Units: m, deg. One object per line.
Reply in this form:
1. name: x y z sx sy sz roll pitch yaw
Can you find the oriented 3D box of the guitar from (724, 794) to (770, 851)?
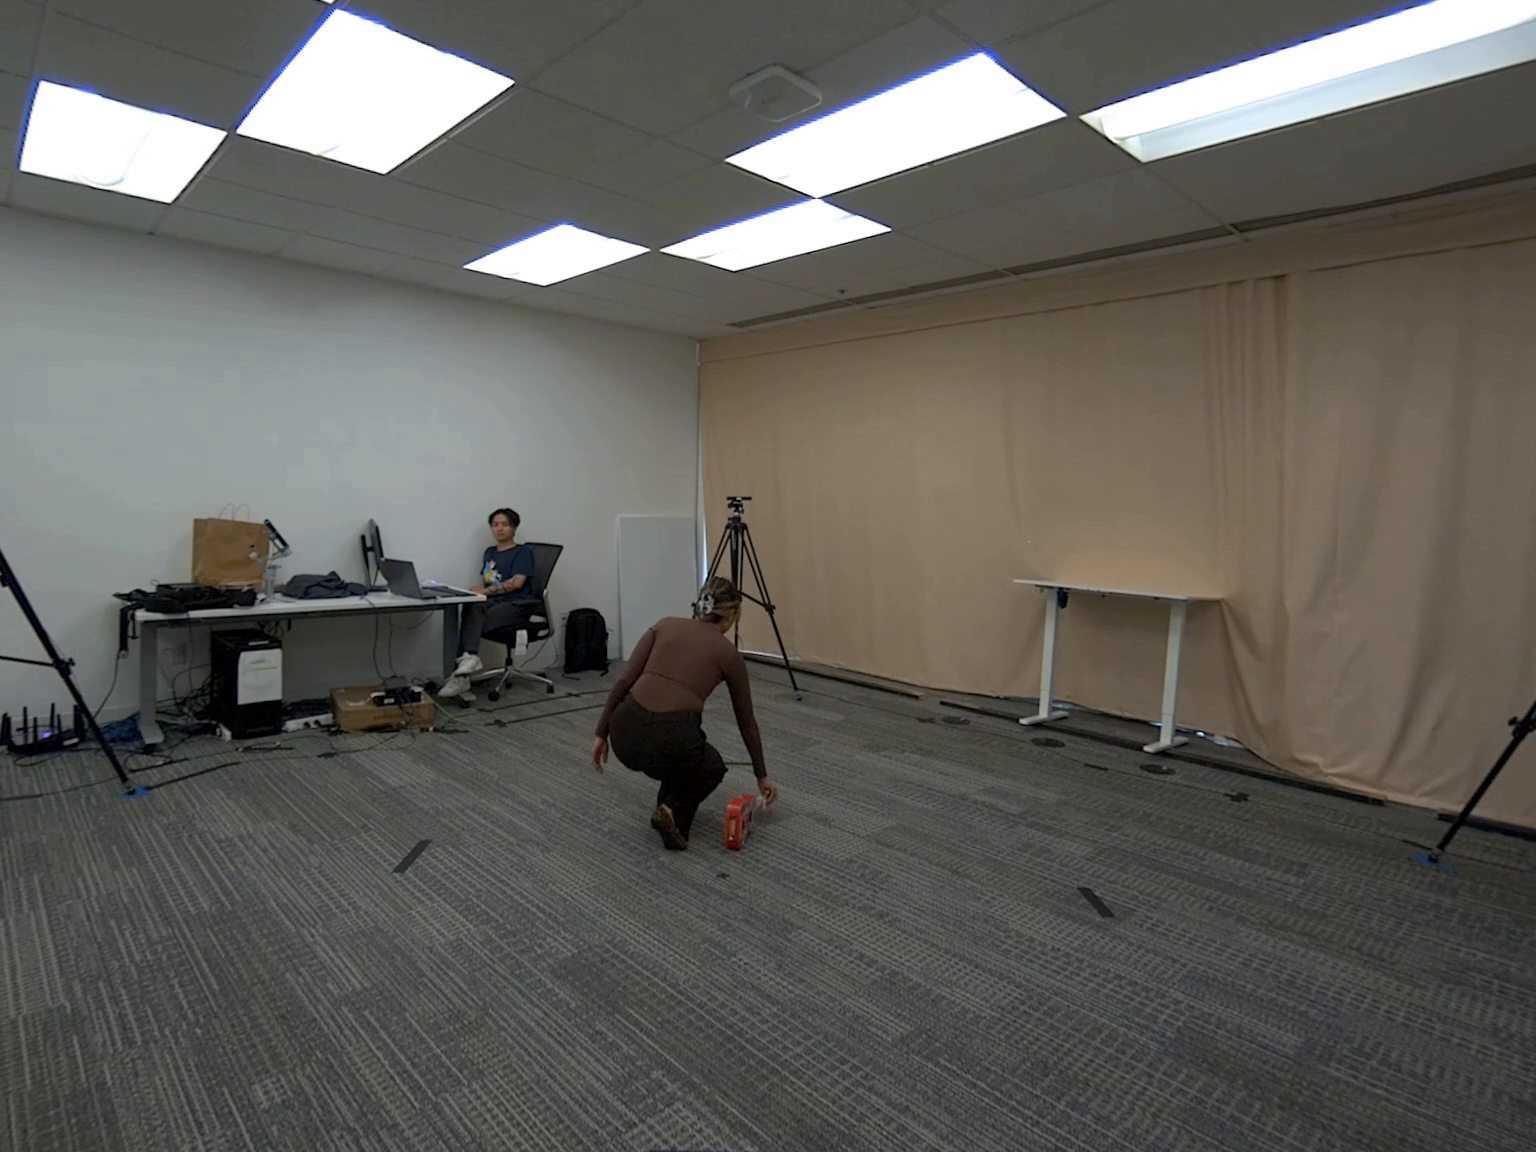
1. guitar: -0.084 1.002 3.529 0.072 0.194 0.489 4 -5 16
